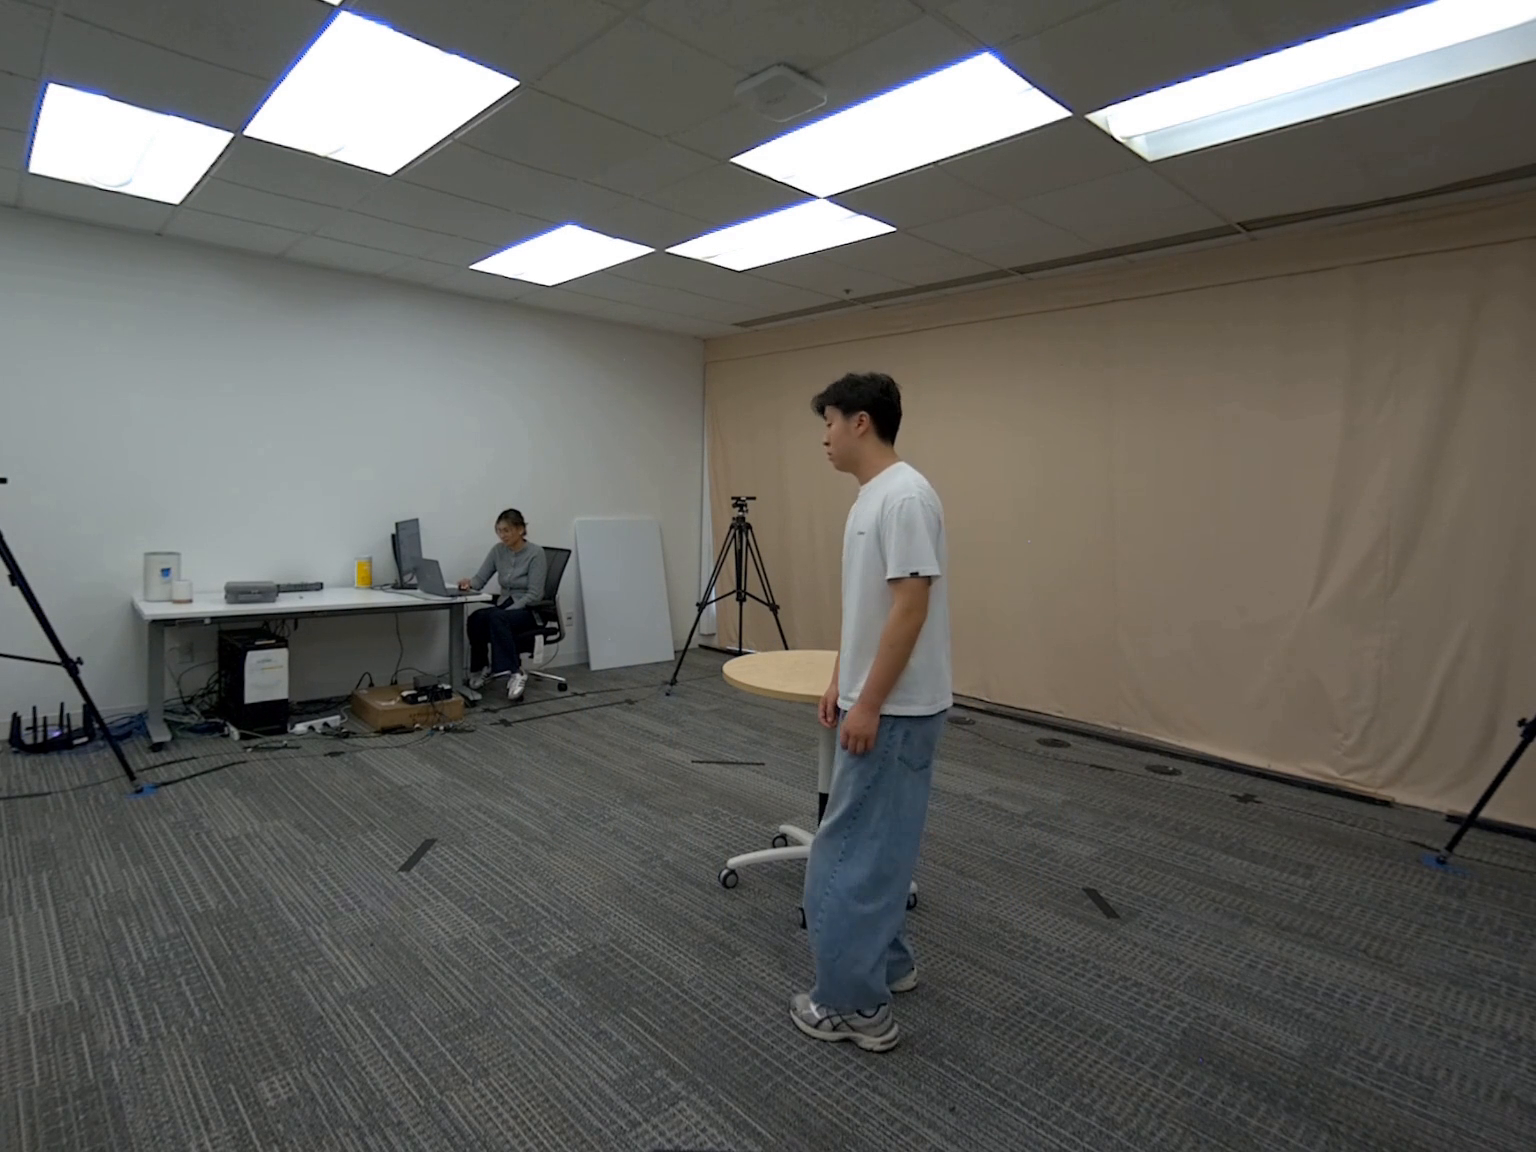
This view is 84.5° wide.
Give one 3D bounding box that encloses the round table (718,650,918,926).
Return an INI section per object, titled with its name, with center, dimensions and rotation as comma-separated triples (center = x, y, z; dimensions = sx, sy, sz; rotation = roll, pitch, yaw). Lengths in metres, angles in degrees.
[round table]
center = 0.200, 0.733, 3.028
dimensions = 0.763, 0.792, 0.767
rotation = 1, 4, -1
